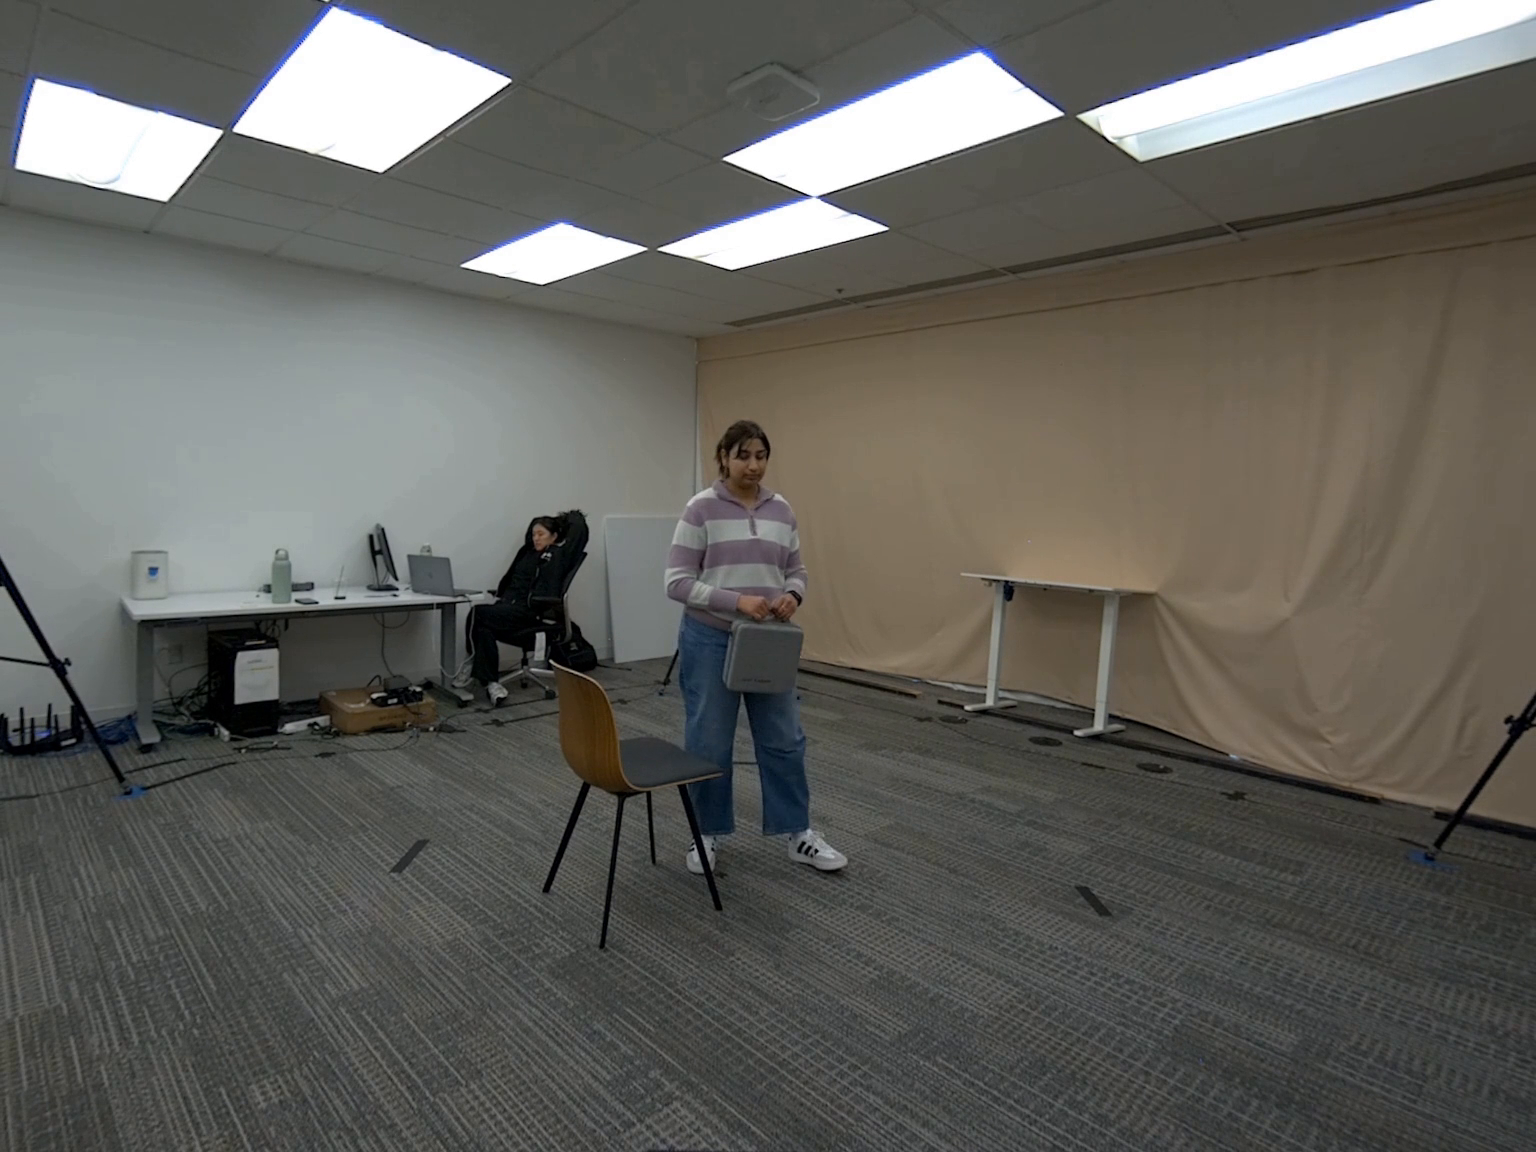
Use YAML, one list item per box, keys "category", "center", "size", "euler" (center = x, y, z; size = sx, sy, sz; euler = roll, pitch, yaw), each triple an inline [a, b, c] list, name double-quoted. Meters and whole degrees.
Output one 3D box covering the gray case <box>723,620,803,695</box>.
- category: "gray case"
  center: [-0.030, 0.273, 2.964]
  size: [0.253, 0.258, 0.106]
  euler: [5, 13, -16]
